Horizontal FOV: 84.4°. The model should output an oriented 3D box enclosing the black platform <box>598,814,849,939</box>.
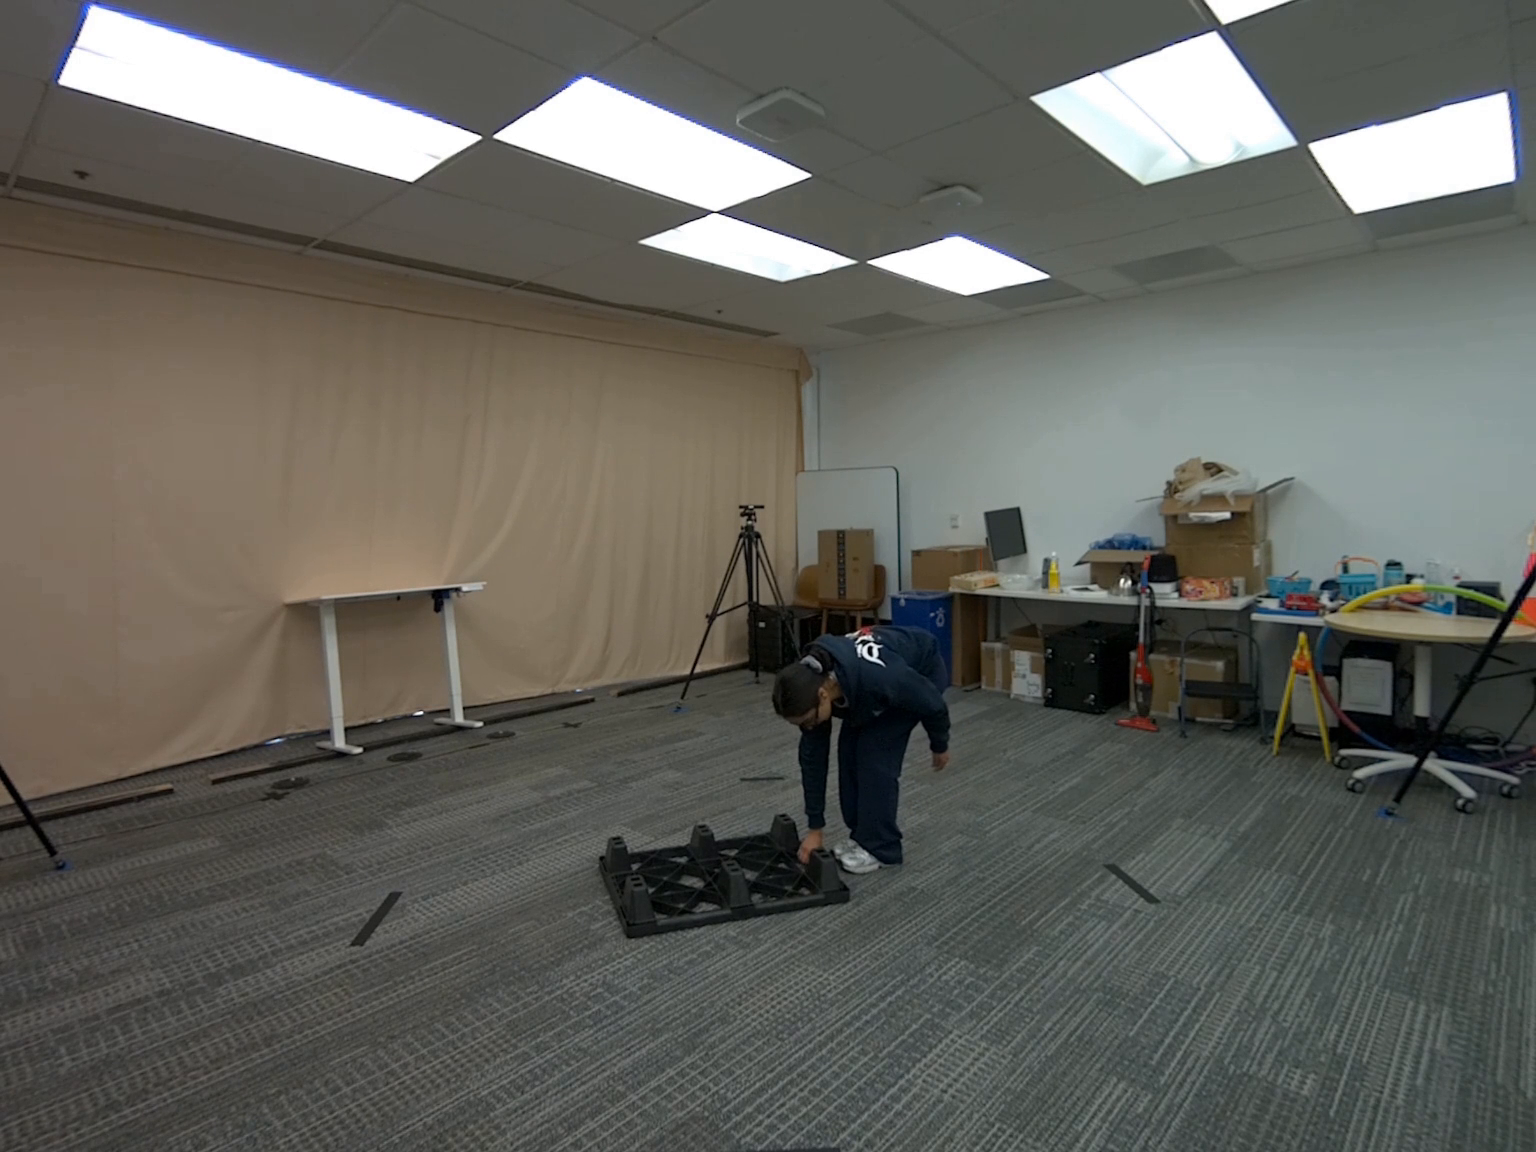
[{"bbox_3d":[-0.186,1.063,3.105,0.791,0.143,0.618,-3,5,-19],"label":"black platform"}]
